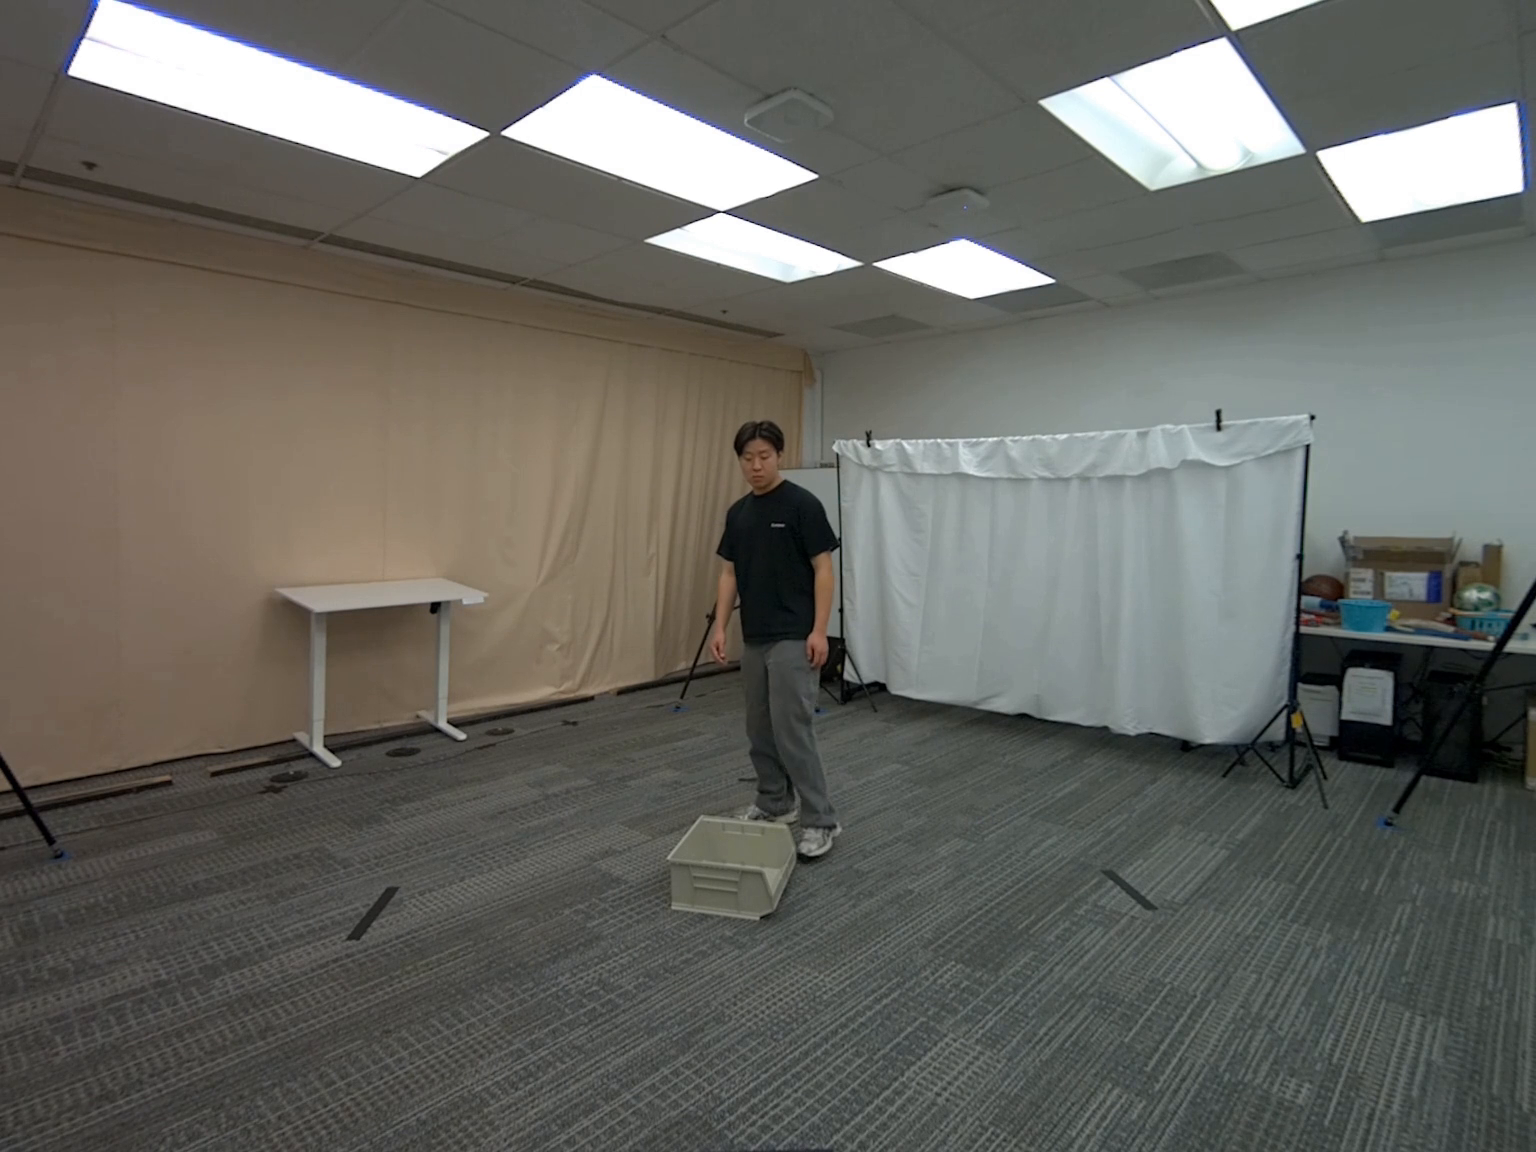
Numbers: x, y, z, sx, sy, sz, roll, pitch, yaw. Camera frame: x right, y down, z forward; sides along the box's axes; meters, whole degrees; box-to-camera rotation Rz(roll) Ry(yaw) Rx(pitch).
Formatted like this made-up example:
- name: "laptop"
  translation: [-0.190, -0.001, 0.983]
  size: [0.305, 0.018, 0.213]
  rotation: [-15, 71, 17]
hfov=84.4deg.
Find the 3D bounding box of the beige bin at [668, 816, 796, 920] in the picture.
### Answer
- name: "beige bin"
  translation: [-0.120, 1.048, 3.052]
  size: [0.383, 0.188, 0.417]
  rotation: [0, 4, 14]
